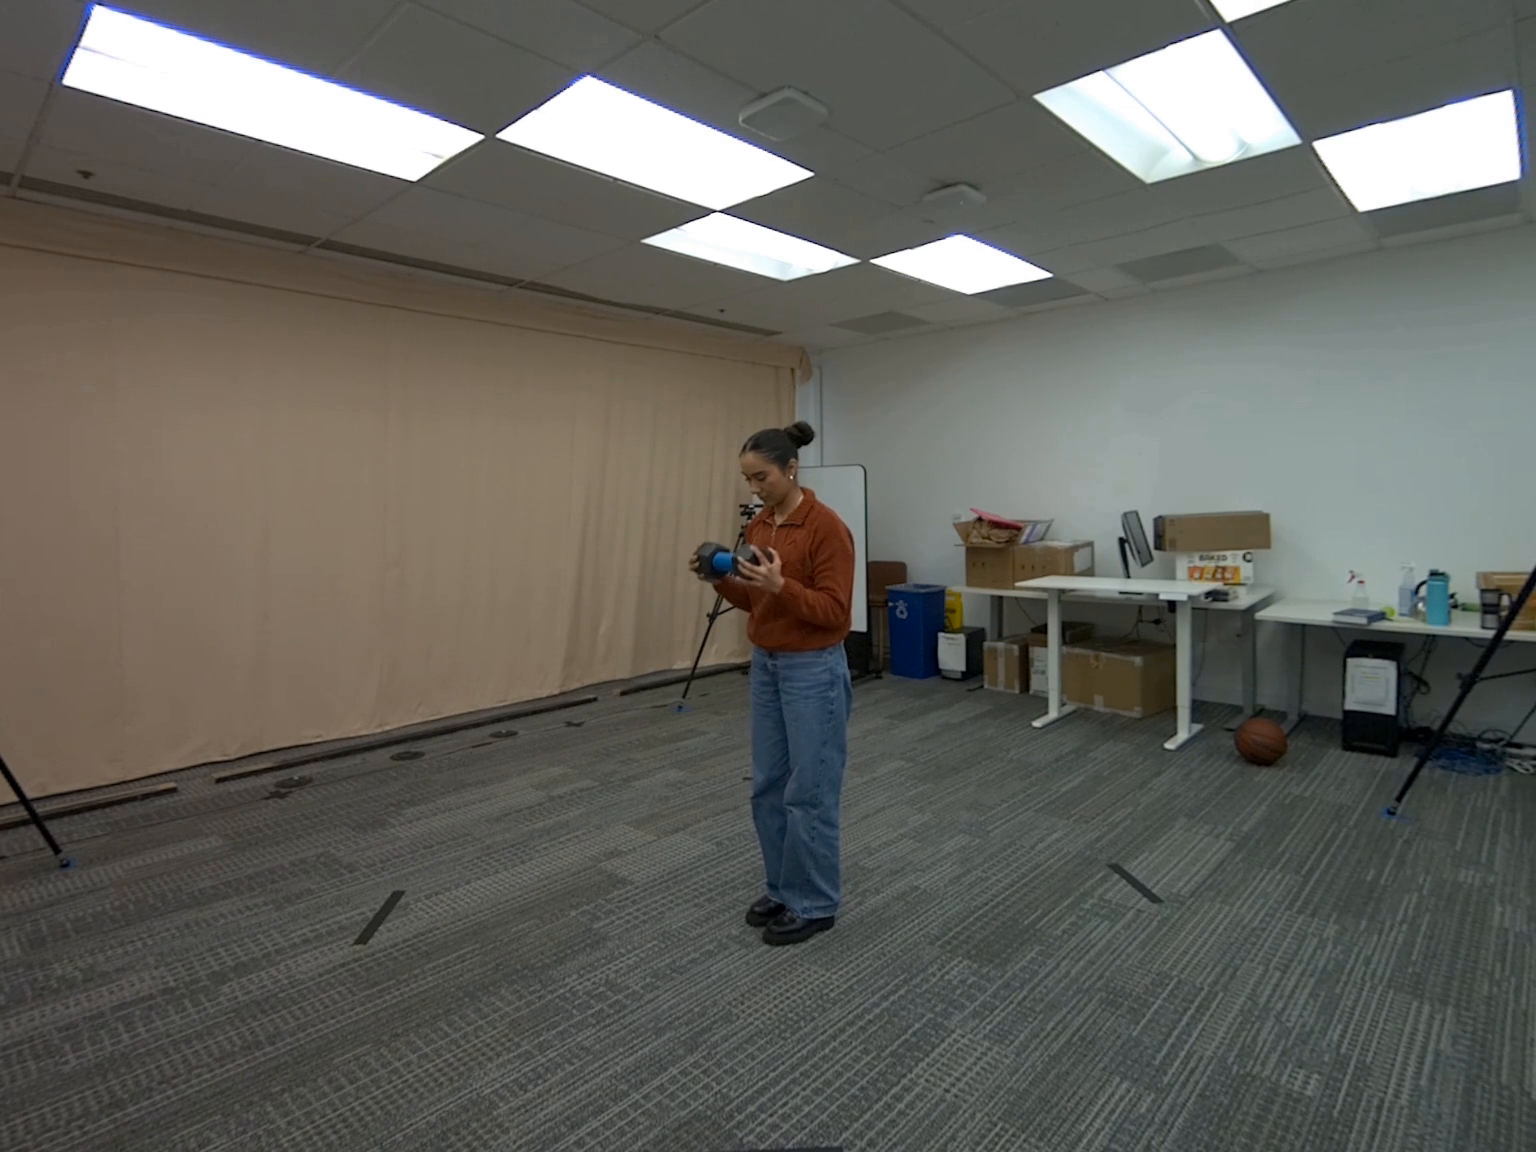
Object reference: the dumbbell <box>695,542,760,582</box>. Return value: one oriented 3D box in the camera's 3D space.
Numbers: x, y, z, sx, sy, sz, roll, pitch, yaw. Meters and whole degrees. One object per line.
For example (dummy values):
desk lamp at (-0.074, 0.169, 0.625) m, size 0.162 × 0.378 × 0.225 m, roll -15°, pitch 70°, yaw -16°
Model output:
dumbbell at (-0.098, -0.031, 2.615) m, size 0.119 × 0.109 × 0.303 m, roll 23°, pitch -10°, yaw -37°
